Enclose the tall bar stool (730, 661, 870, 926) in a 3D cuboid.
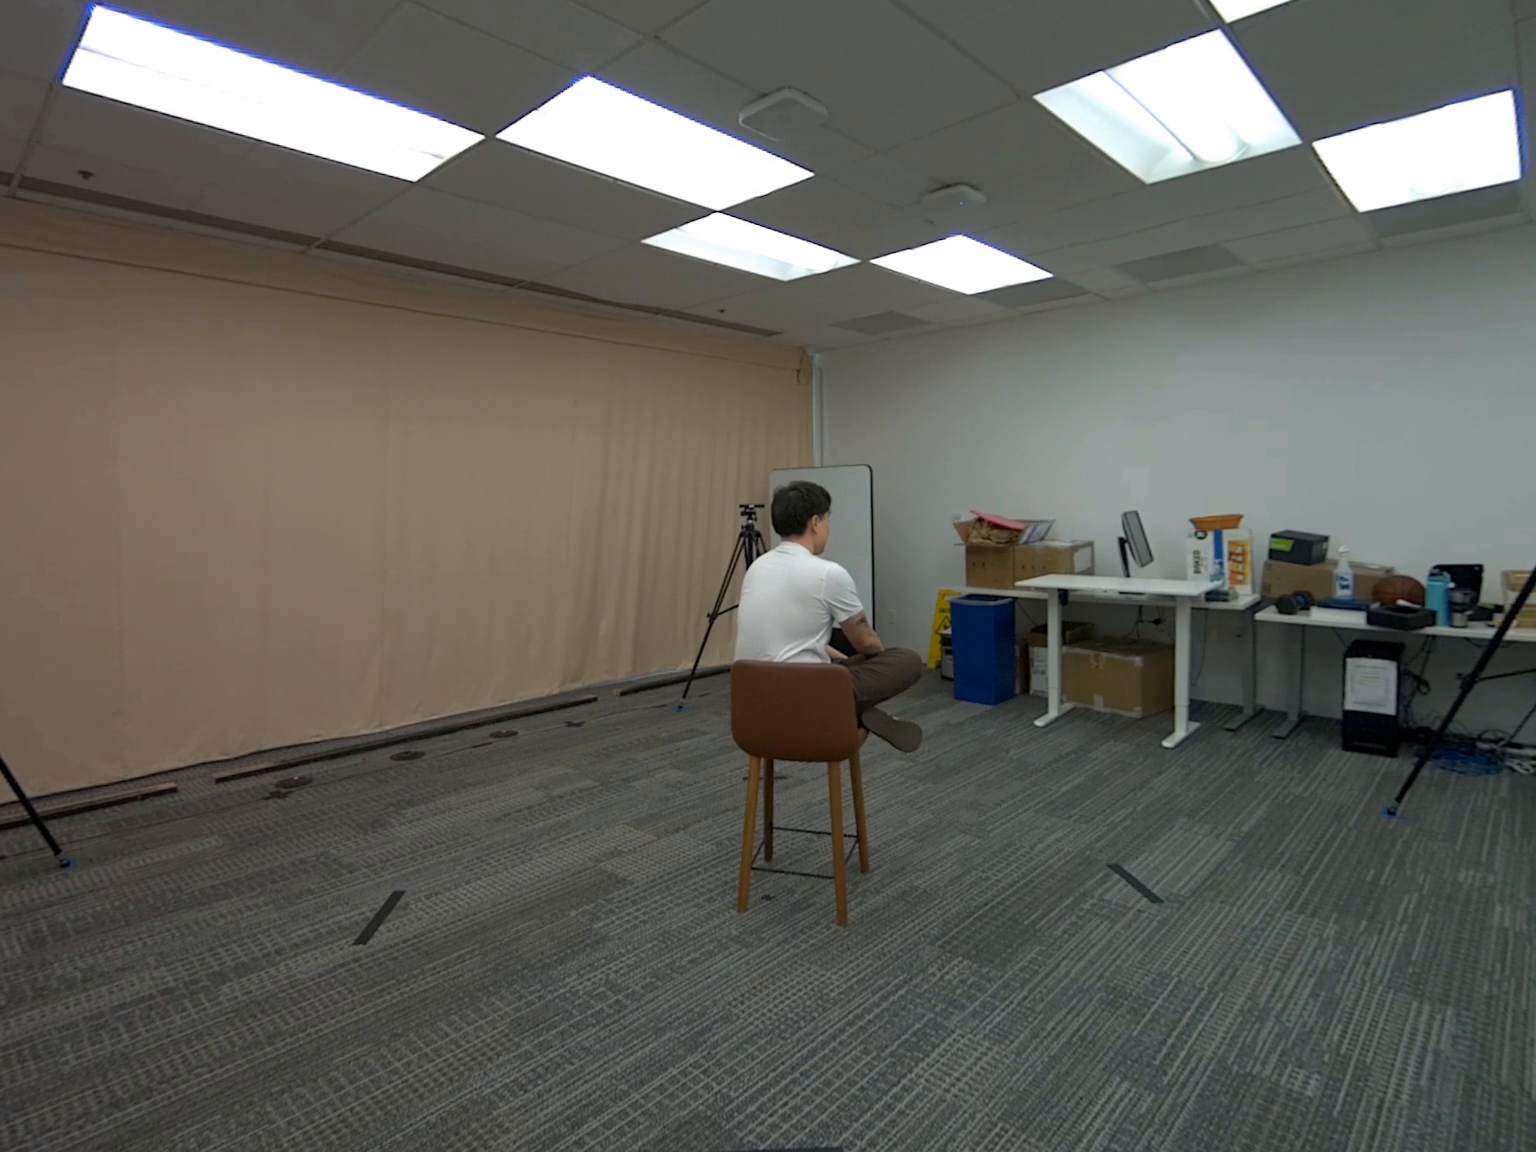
[{"bbox_3d":[0.125,0.705,3.003,0.466,0.886,0.460,0,6,18],"label":"tall bar stool"}]
